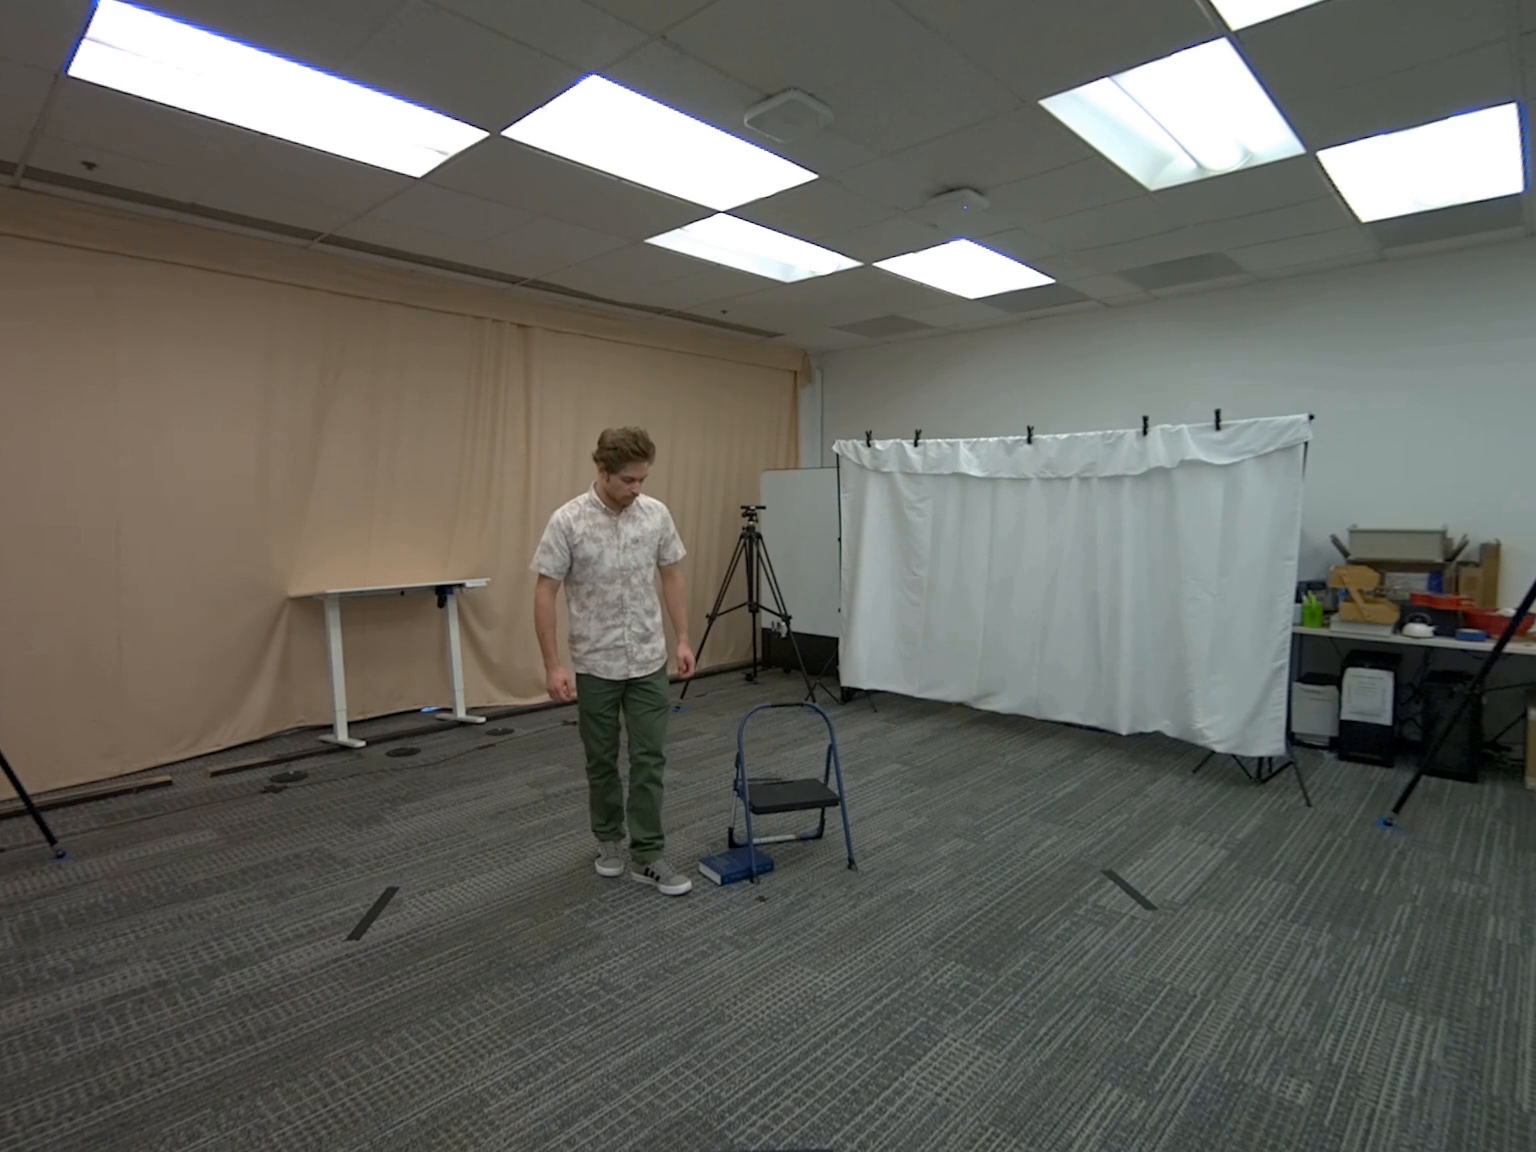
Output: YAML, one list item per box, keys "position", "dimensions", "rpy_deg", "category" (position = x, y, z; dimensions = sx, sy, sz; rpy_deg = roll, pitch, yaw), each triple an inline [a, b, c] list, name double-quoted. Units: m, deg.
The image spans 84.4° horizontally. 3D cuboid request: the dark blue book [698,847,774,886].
- position: [-0.124, 1.107, 3.205]
  dimensions: [0.238, 0.045, 0.168]
  rpy_deg: [-2, 5, -32]
  category: "dark blue book"
